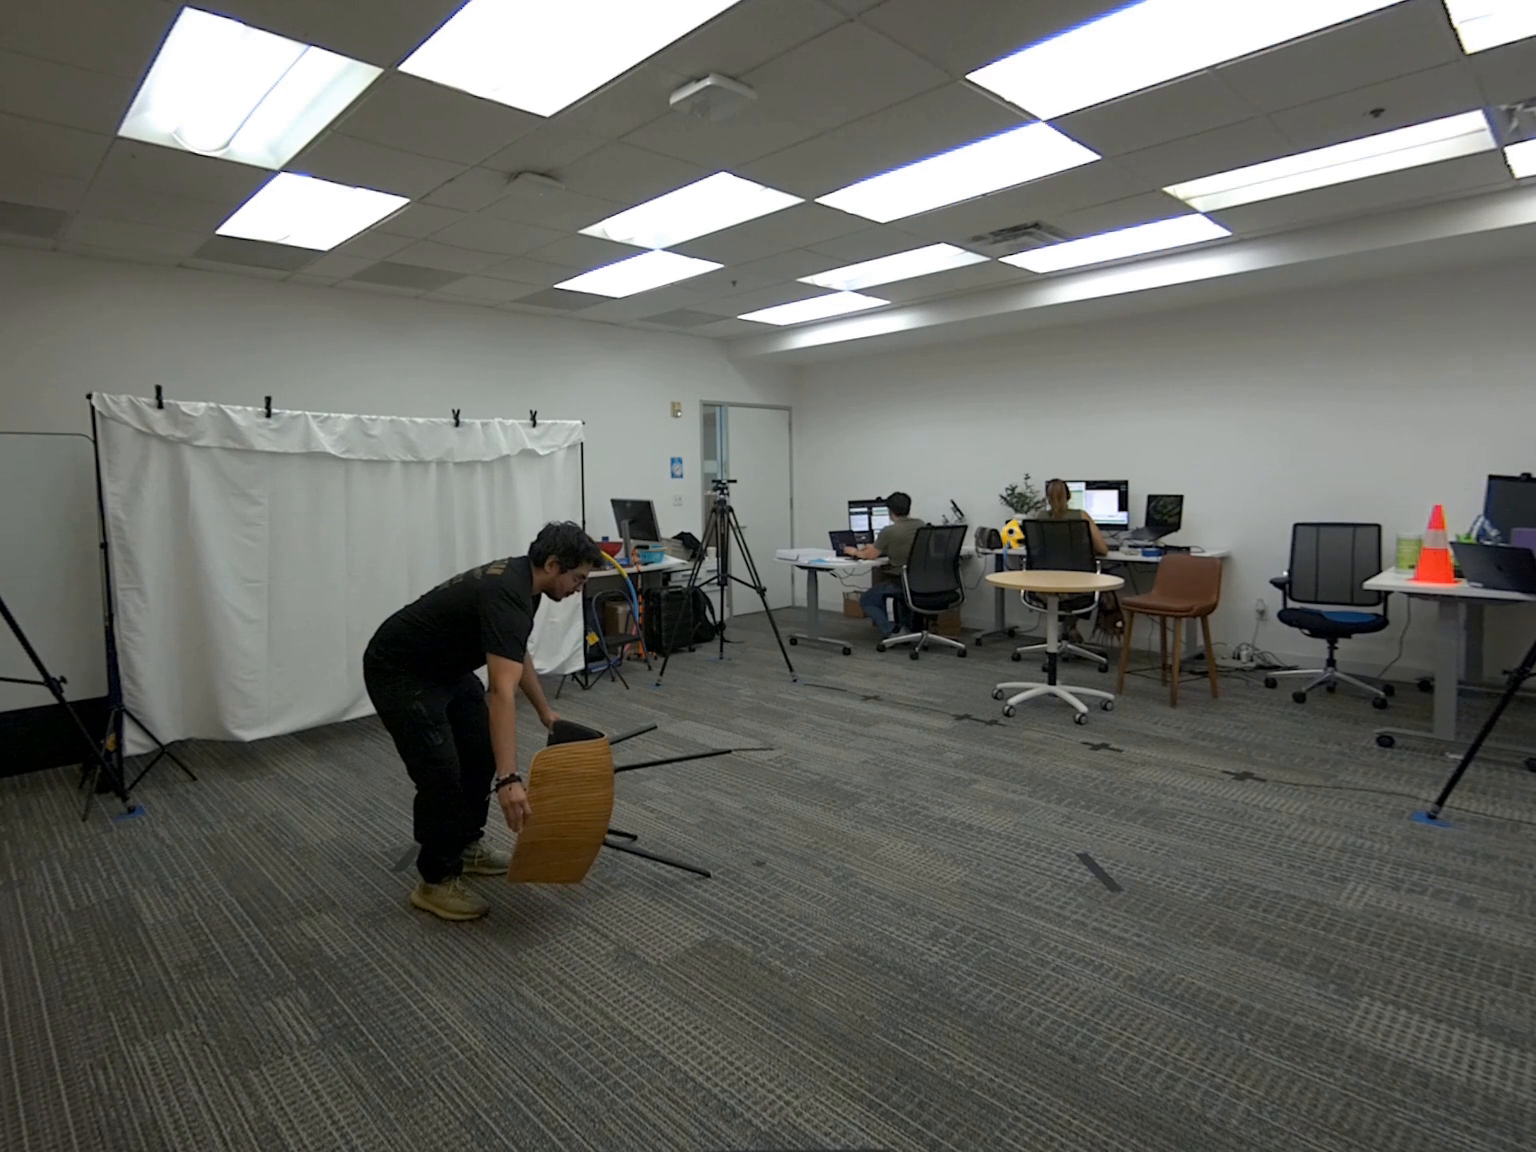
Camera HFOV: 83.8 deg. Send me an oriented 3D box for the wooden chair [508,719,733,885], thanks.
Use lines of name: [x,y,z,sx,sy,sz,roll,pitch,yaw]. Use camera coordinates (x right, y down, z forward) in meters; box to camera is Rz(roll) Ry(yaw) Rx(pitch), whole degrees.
wooden chair: [-0.623,0.755,2.923,0.539,0.480,0.847,5,-5,41]
